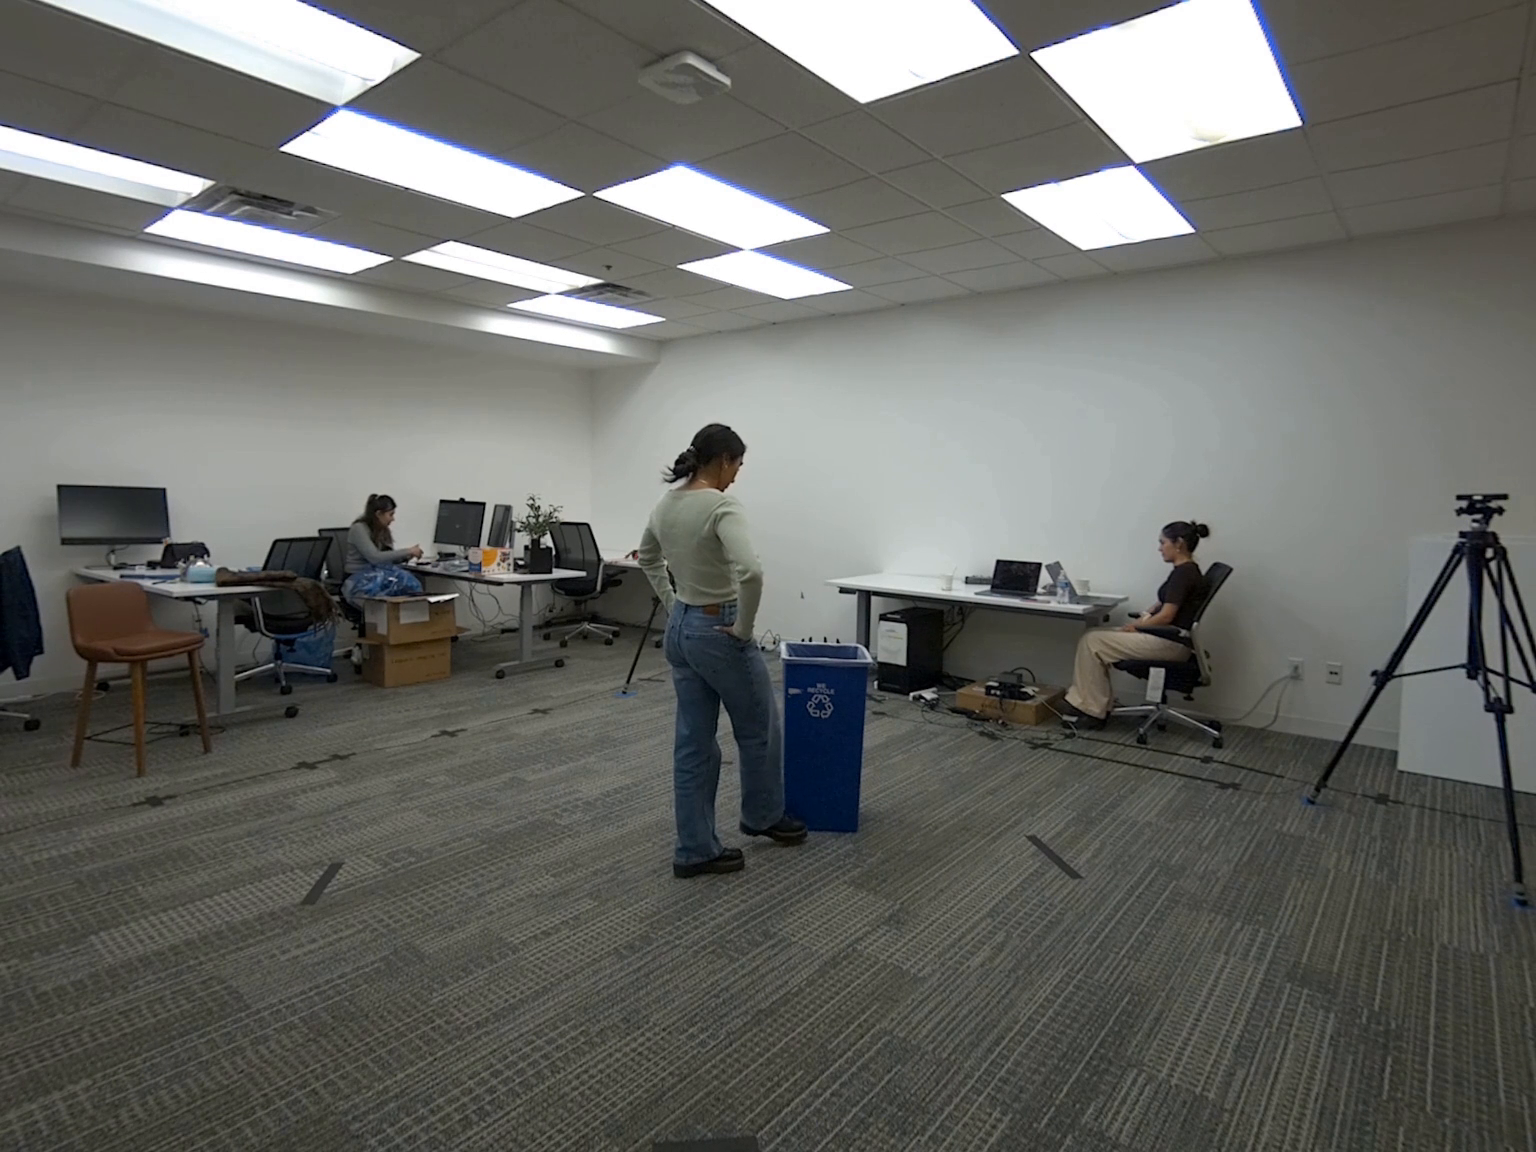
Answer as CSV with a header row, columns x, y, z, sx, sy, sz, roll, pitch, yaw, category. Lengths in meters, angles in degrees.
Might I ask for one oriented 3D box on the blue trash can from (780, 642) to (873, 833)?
x,y,z,sx,sy,sz,roll,pitch,yaw,category
0.222,0.666,3.590,0.379,0.712,0.374,2,3,2,blue trash can
